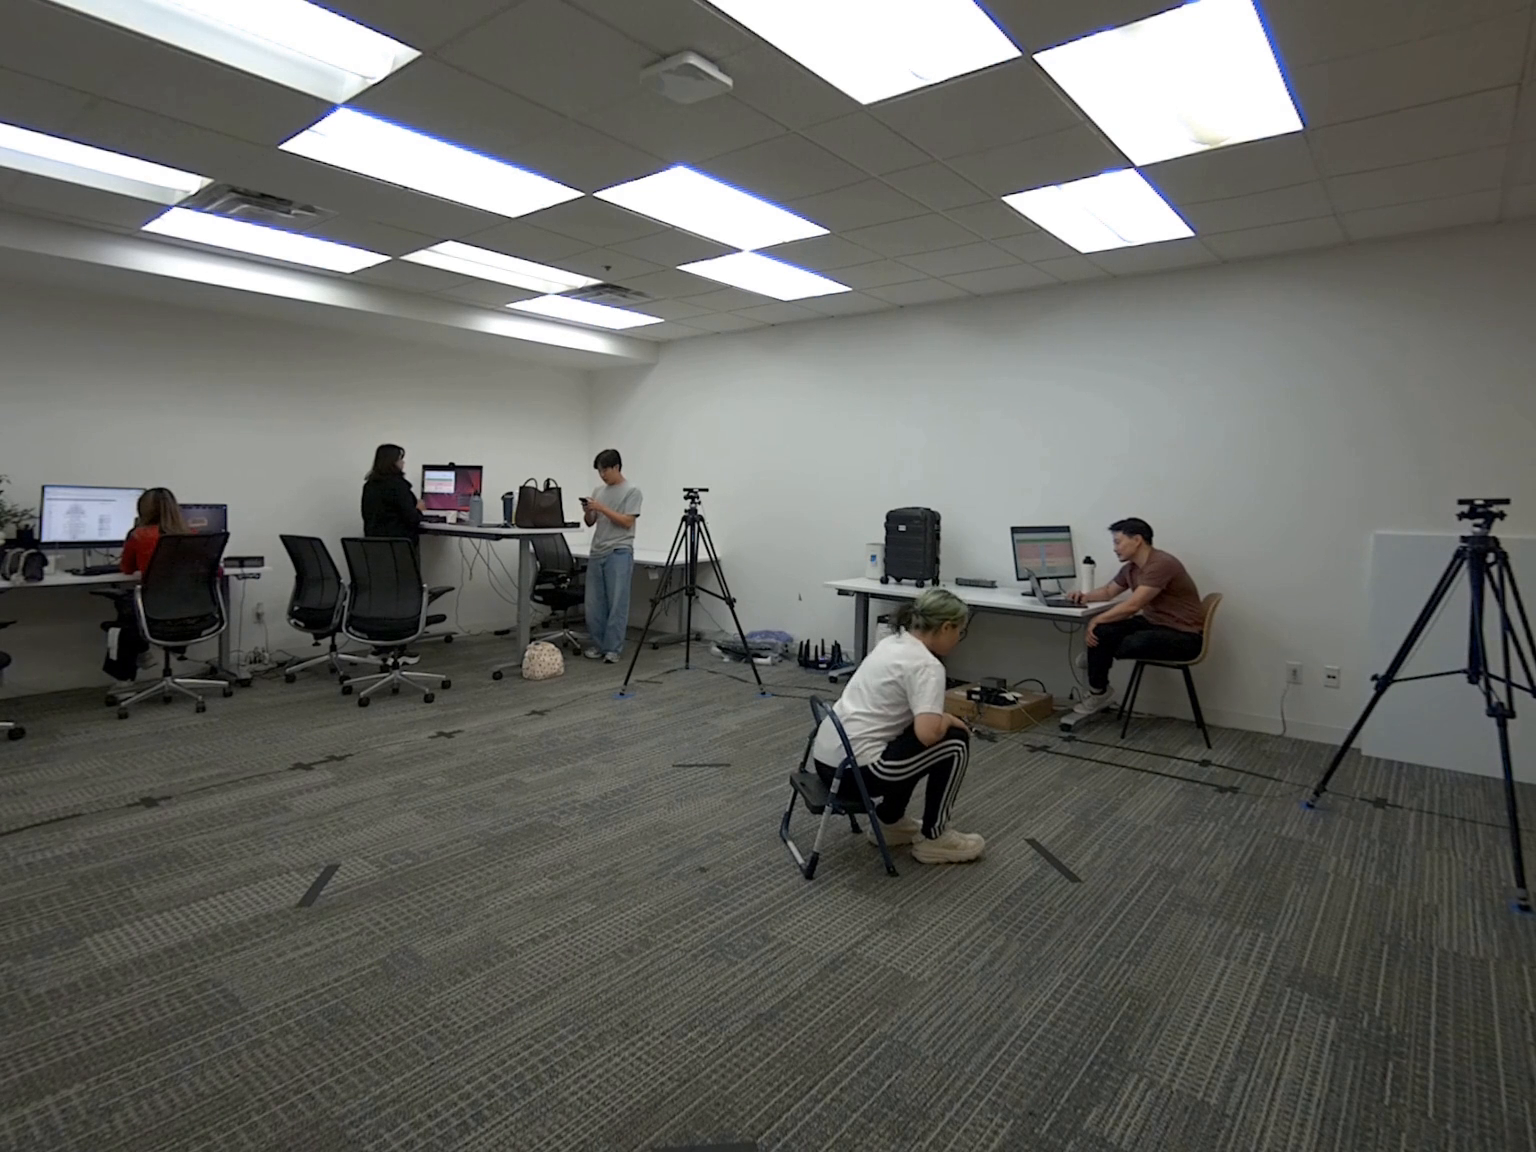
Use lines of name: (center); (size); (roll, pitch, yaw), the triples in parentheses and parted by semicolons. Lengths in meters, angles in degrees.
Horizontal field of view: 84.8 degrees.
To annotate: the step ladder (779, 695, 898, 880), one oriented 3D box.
step ladder: (0.257, 0.769, 3.259); (0.345, 0.605, 0.437); (2, 3, -13)
